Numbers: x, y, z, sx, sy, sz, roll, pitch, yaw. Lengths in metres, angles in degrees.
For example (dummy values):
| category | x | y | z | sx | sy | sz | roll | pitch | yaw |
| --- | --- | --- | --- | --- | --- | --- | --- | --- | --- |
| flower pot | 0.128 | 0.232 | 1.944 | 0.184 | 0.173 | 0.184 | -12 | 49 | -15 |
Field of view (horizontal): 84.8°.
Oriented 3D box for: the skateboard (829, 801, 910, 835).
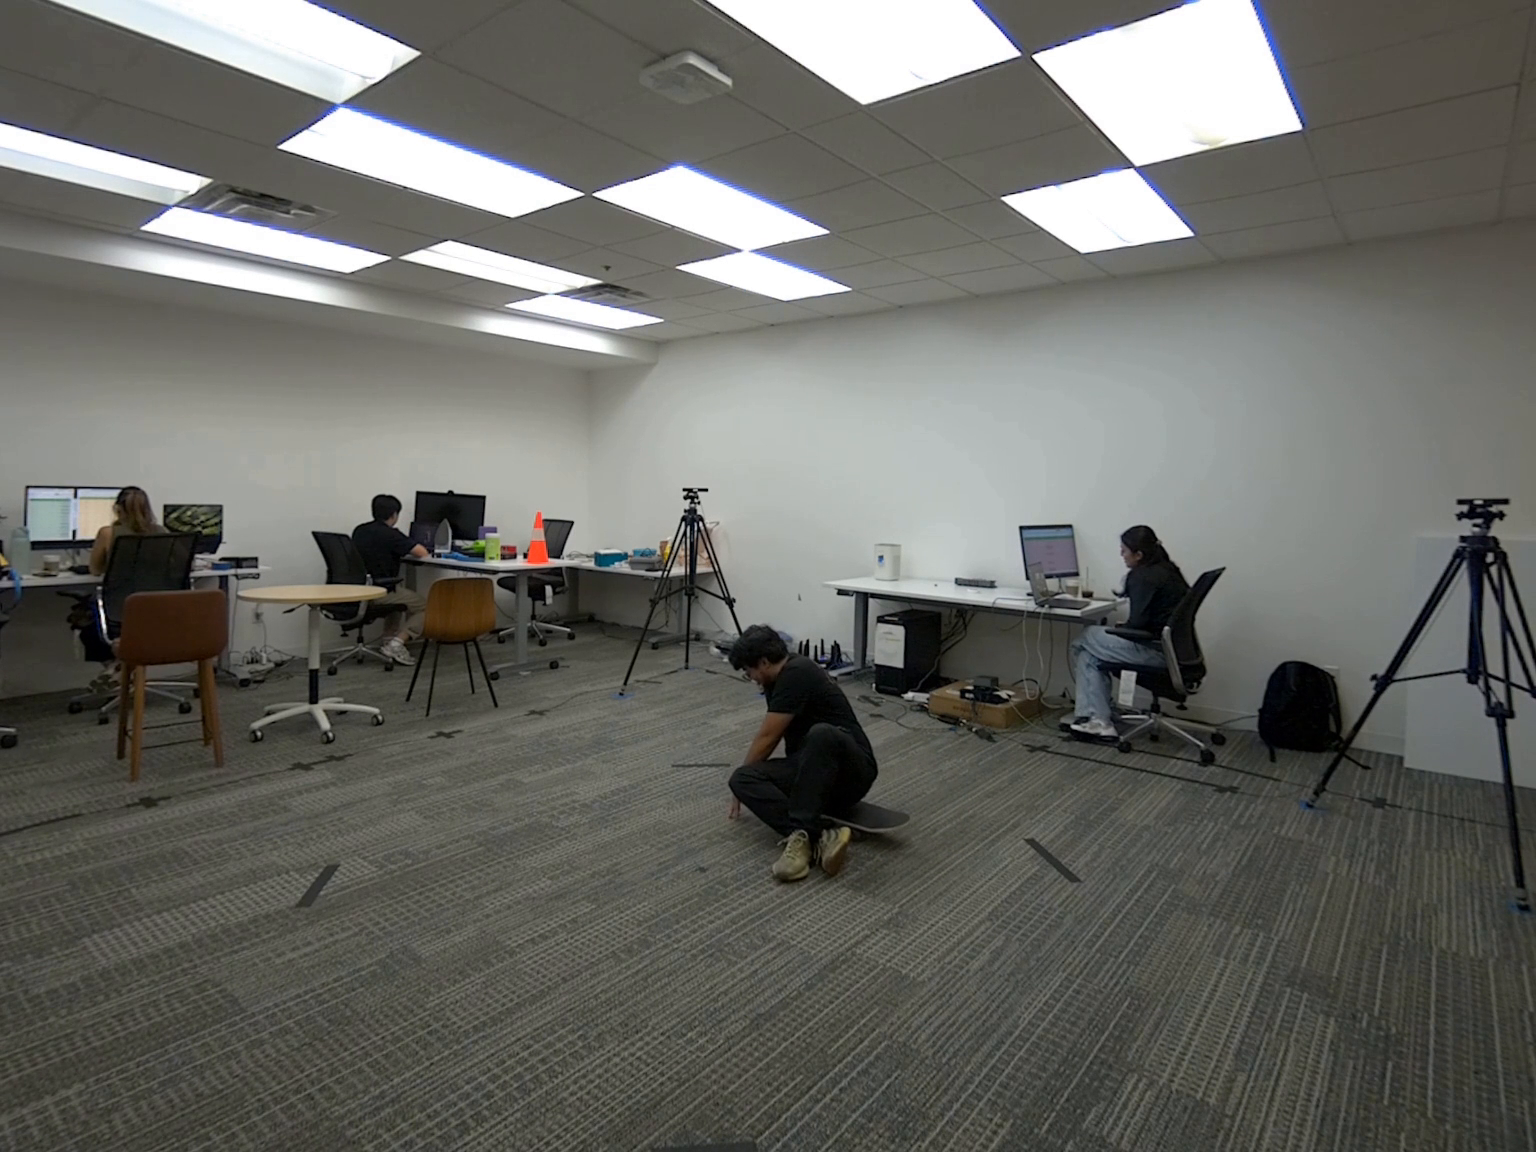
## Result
| category | x | y | z | sx | sy | sz | roll | pitch | yaw |
| --- | --- | --- | --- | --- | --- | --- | --- | --- | --- |
| skateboard | 0.231 | 0.977 | 3.585 | 0.813 | 0.109 | 0.188 | 7 | 13 | 40 |
